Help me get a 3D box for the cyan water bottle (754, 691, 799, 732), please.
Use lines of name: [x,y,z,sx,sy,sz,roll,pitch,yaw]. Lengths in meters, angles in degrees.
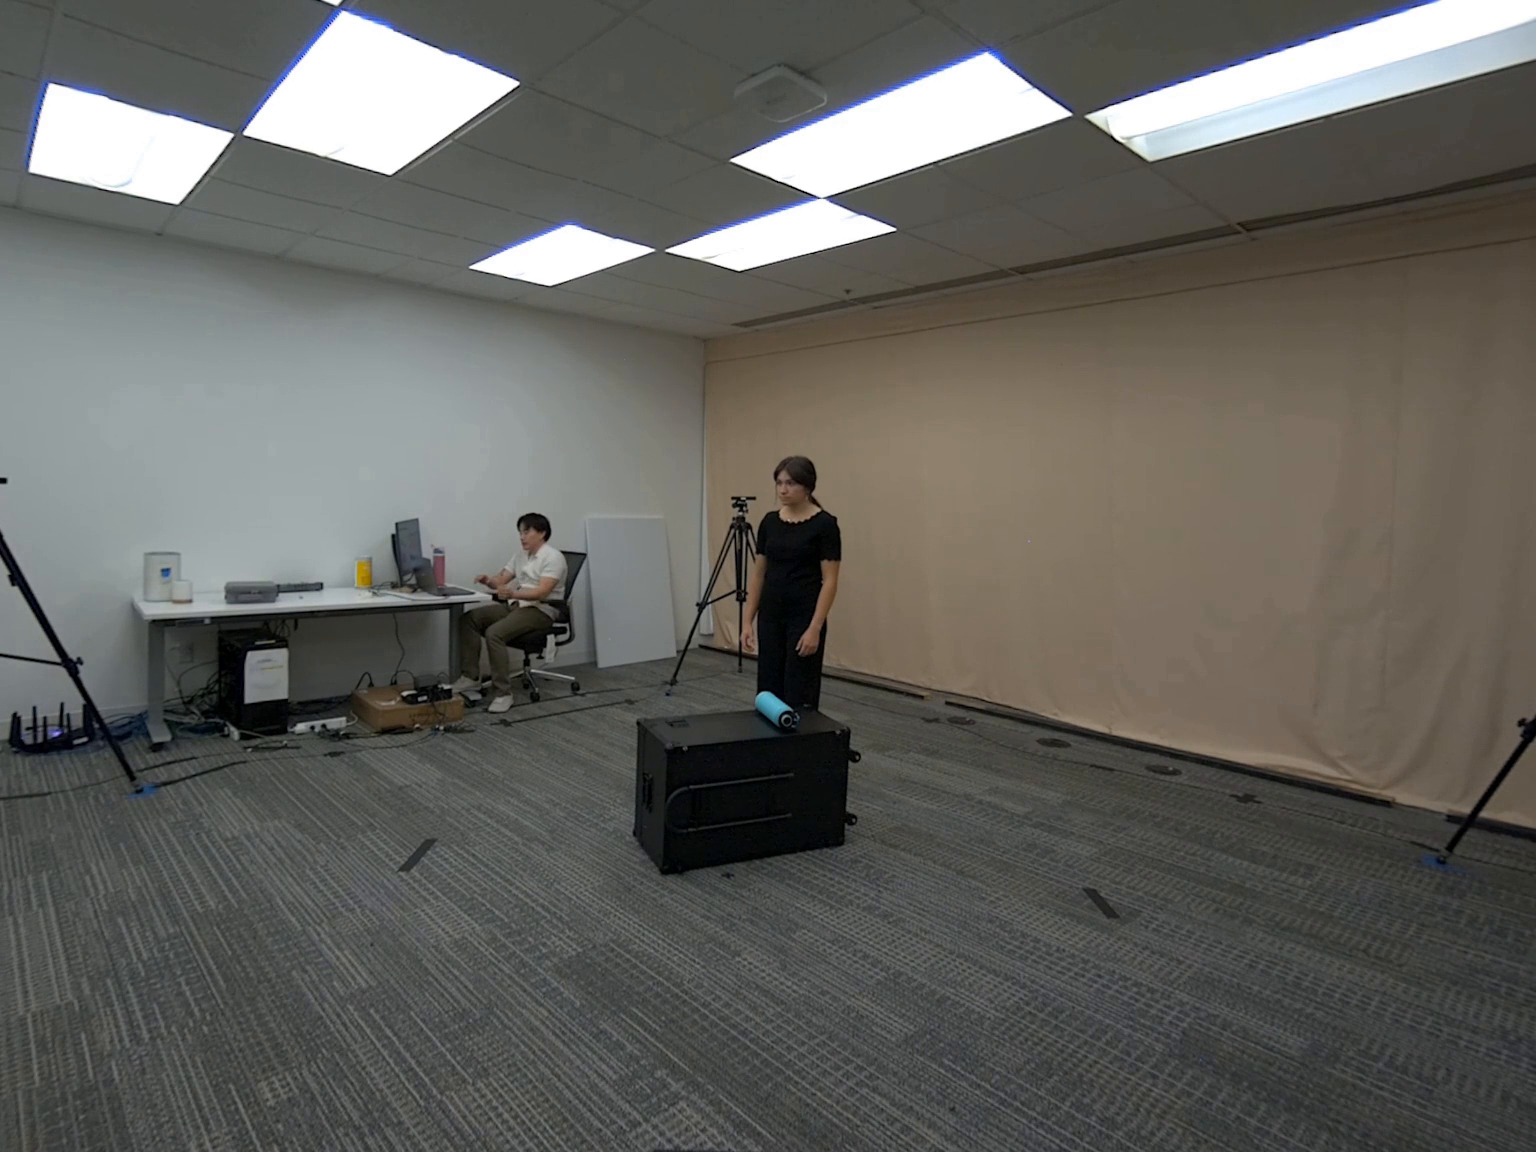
cyan water bottle: [0.027,0.548,3.412,0.091,0.092,0.289,0,8,-20]
